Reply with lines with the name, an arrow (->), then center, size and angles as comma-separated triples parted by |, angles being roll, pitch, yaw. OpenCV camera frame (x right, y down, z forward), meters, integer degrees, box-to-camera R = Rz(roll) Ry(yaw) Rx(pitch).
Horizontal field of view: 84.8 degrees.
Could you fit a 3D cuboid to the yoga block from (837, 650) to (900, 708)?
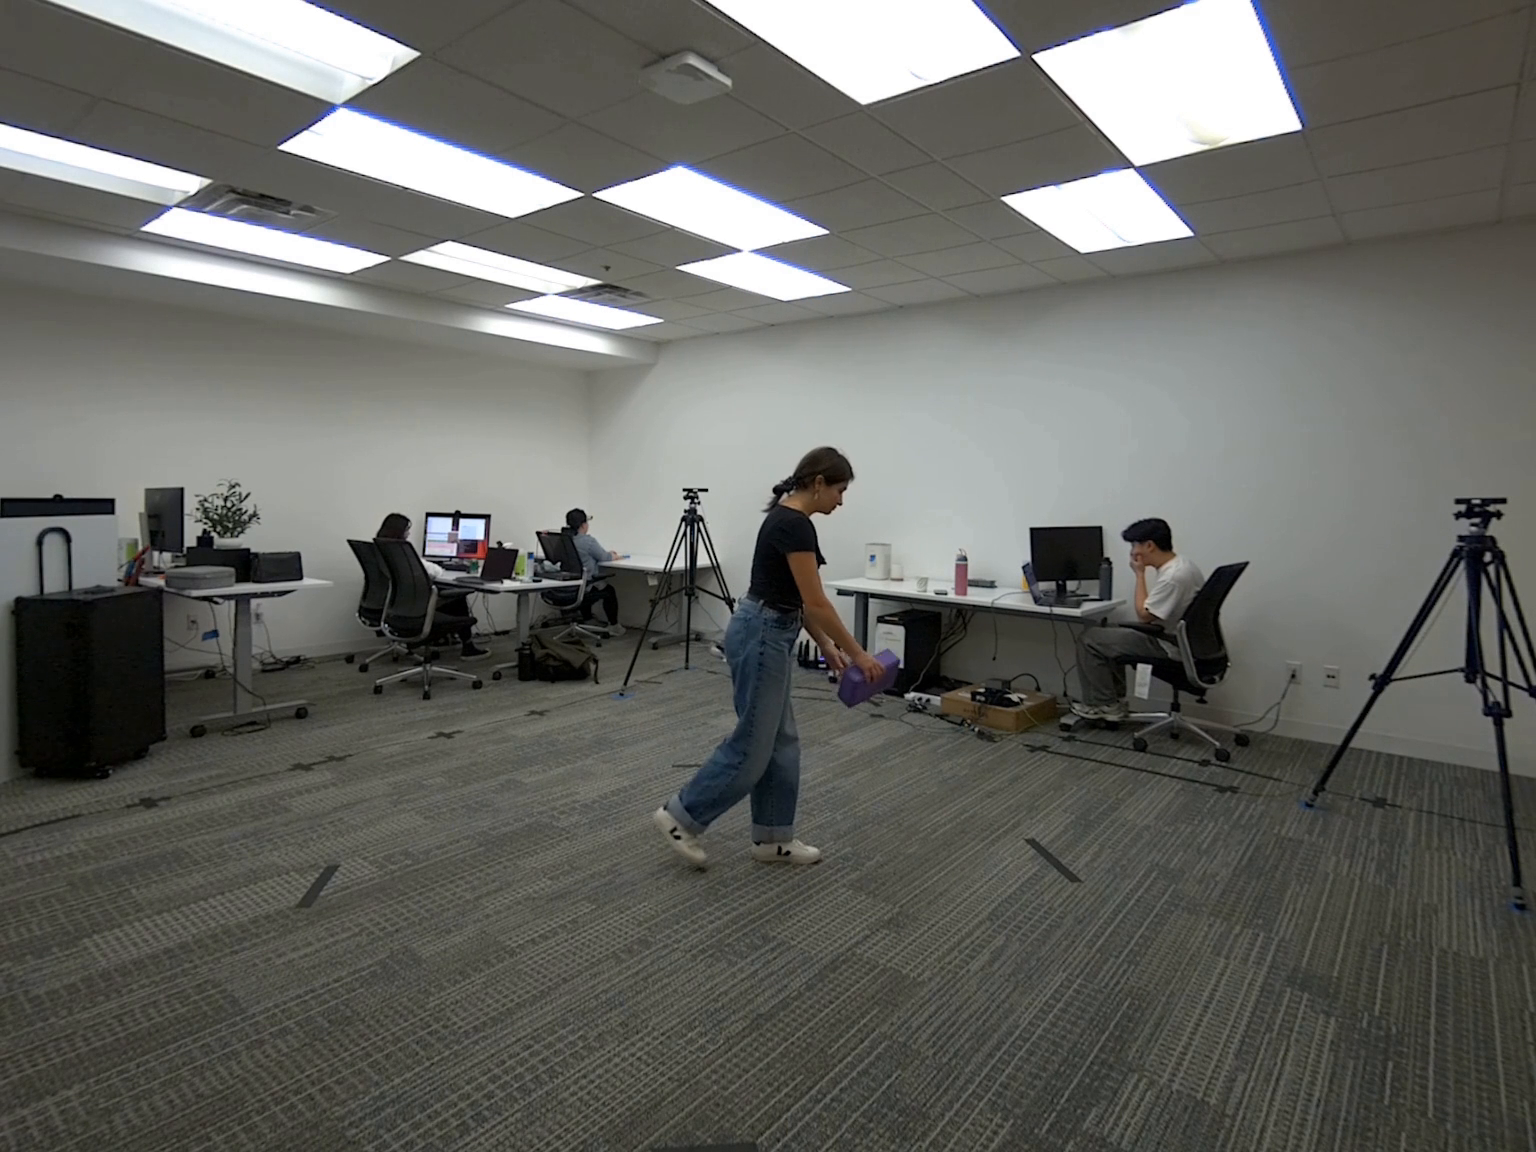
yoga block -> 0.378, 0.354, 3.124 | 0.225, 0.145, 0.080 | -18, 45, -28
